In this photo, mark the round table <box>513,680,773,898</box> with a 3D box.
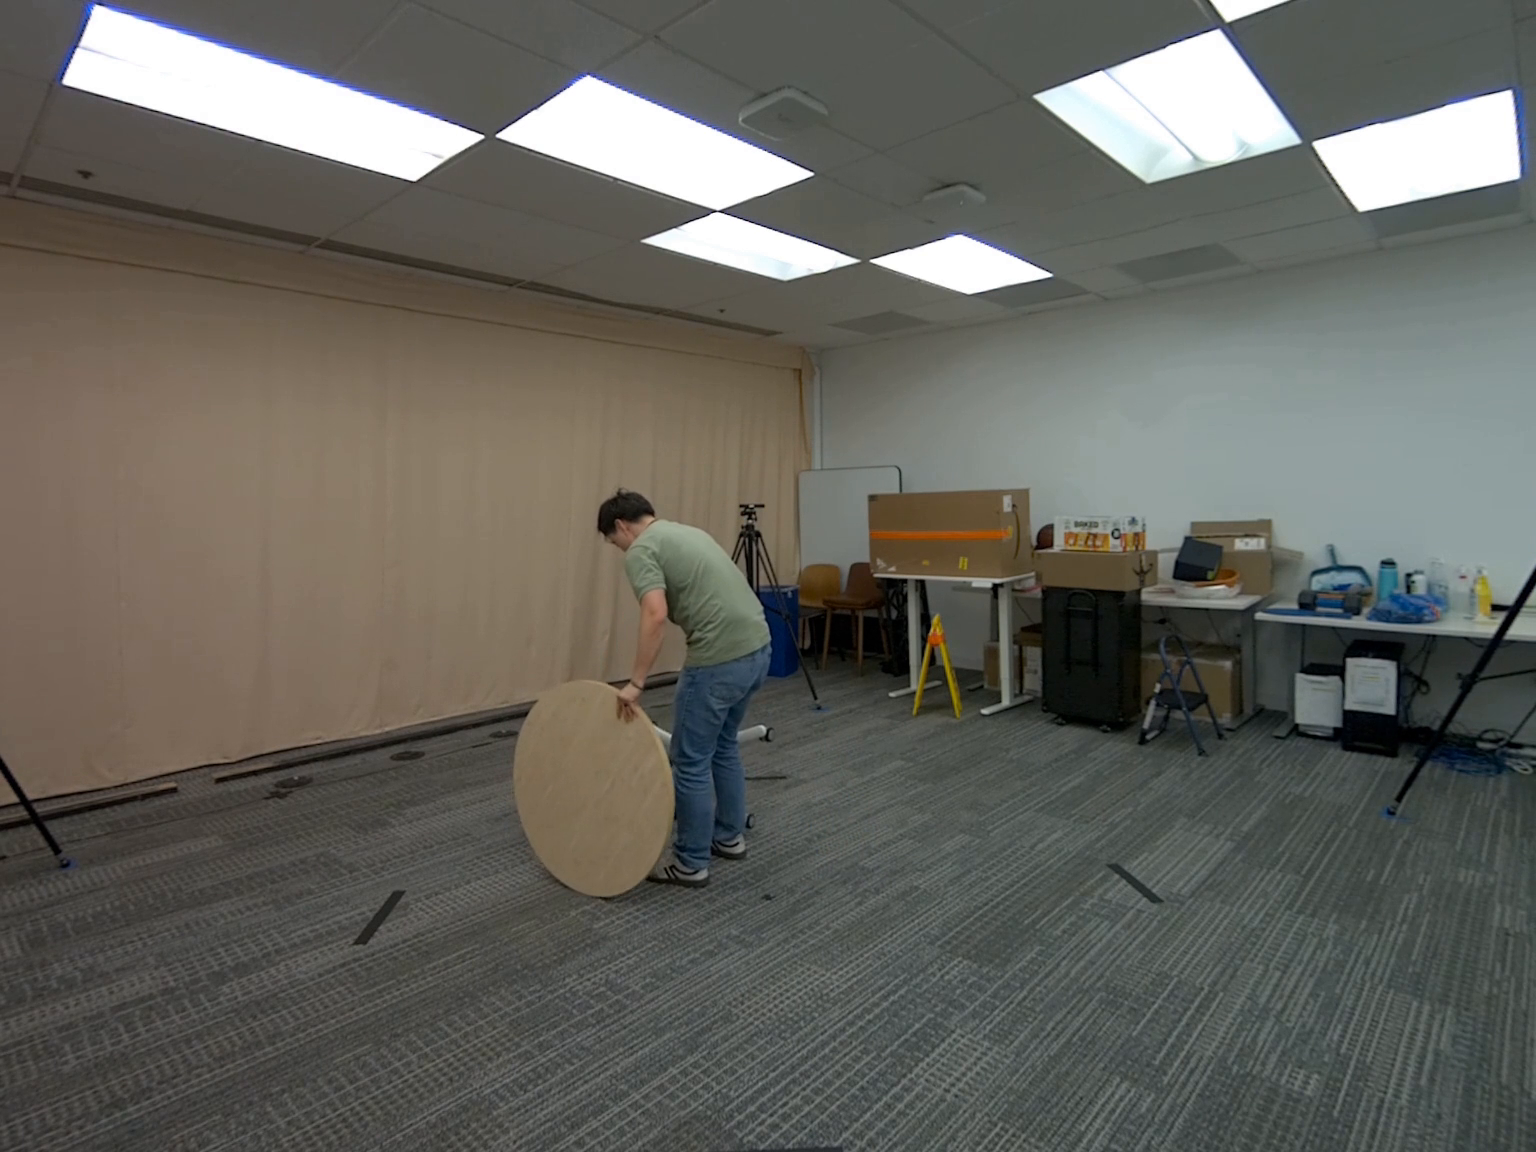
[{"bbox_3d":[-0.457,0.766,3.380,0.787,0.764,0.770,2,0,33],"label":"round table"}]
